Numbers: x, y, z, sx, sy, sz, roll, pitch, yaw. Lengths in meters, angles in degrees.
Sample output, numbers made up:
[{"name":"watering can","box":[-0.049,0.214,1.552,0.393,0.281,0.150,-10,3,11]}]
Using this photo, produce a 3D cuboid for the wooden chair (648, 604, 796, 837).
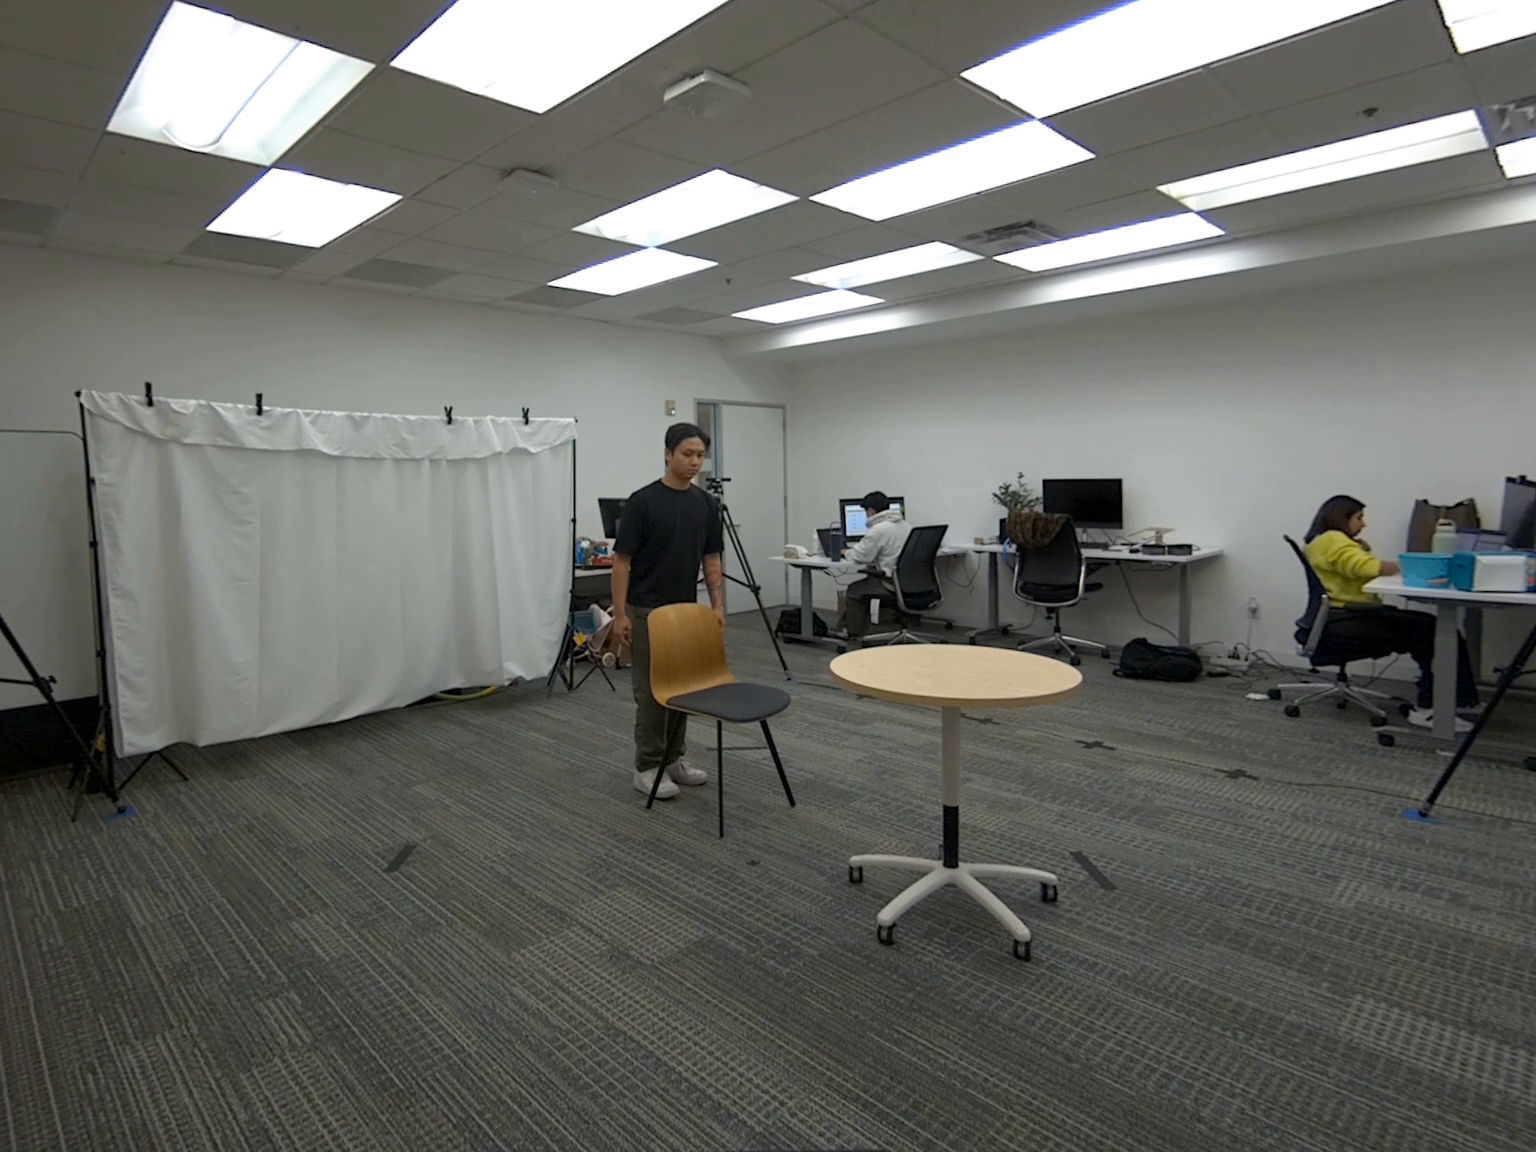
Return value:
[{"name":"wooden chair","box":[-0.201,0.559,3.596,0.537,0.877,0.465,-4,1,43]}]
